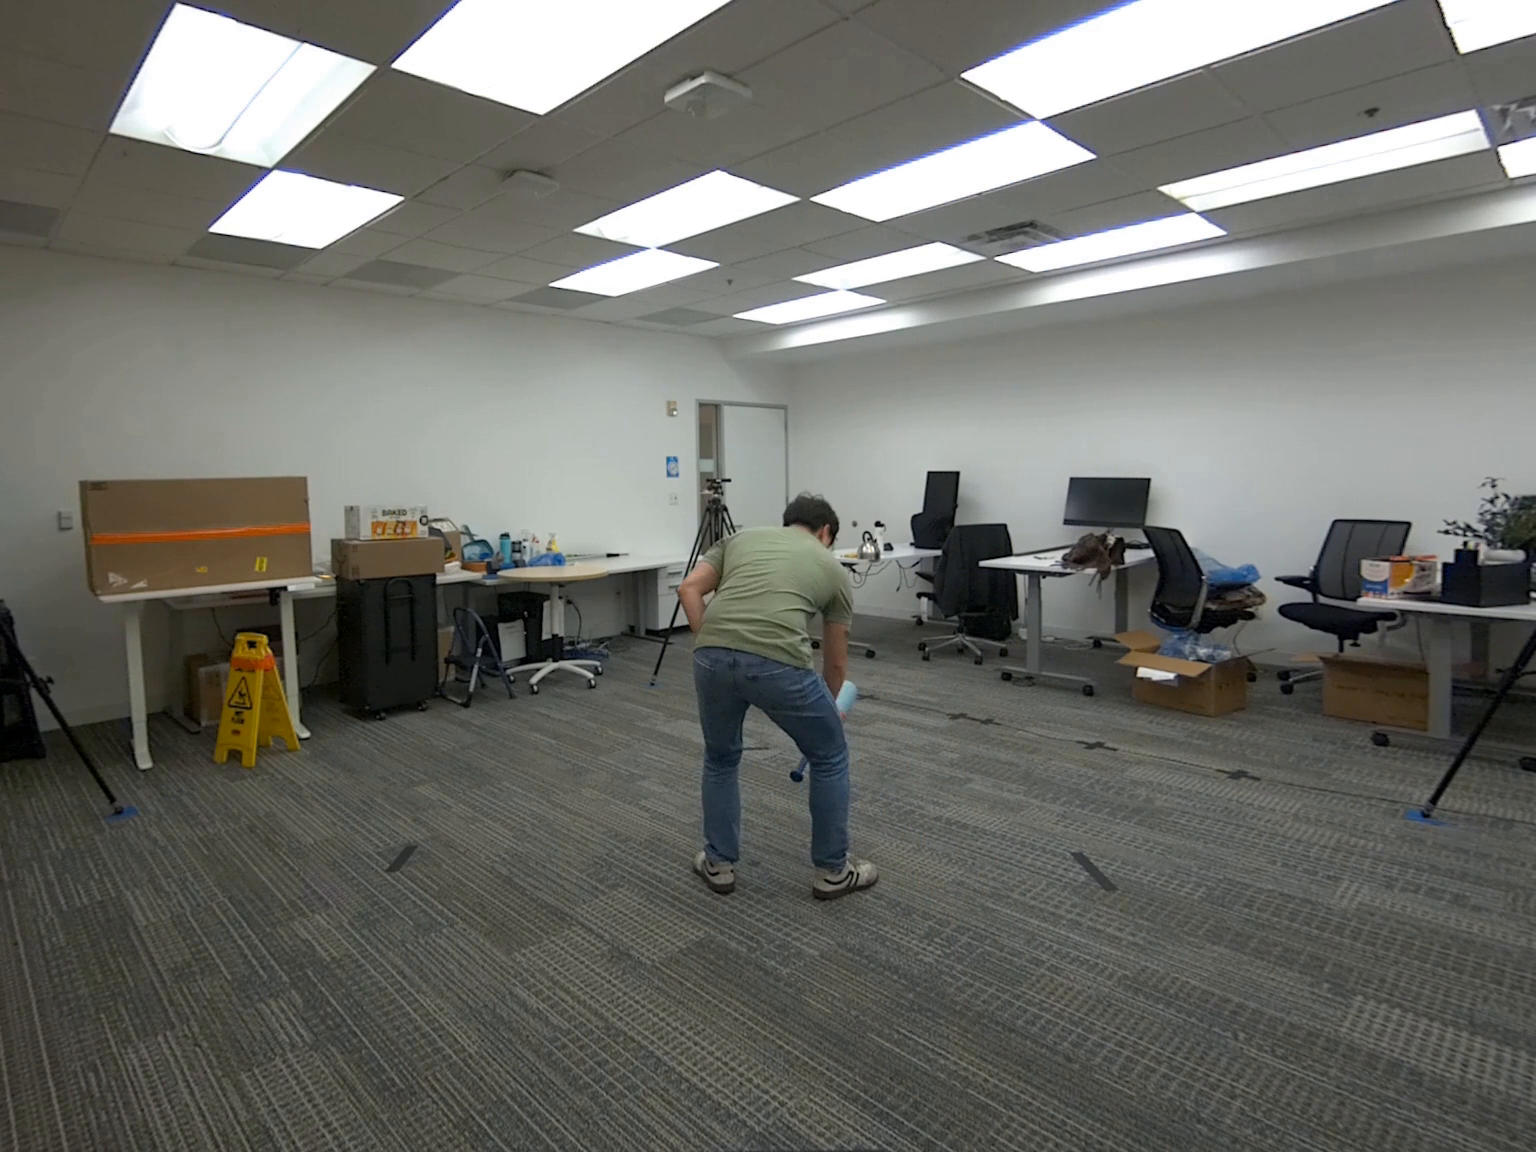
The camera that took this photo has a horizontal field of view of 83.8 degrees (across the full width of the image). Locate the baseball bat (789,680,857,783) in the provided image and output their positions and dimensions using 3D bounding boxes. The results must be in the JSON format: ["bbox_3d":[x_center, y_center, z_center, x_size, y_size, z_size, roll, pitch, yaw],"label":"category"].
[{"bbox_3d":[0.215,0.587,3.235,0.091,0.087,0.543,1,30,28],"label":"baseball bat"}]
